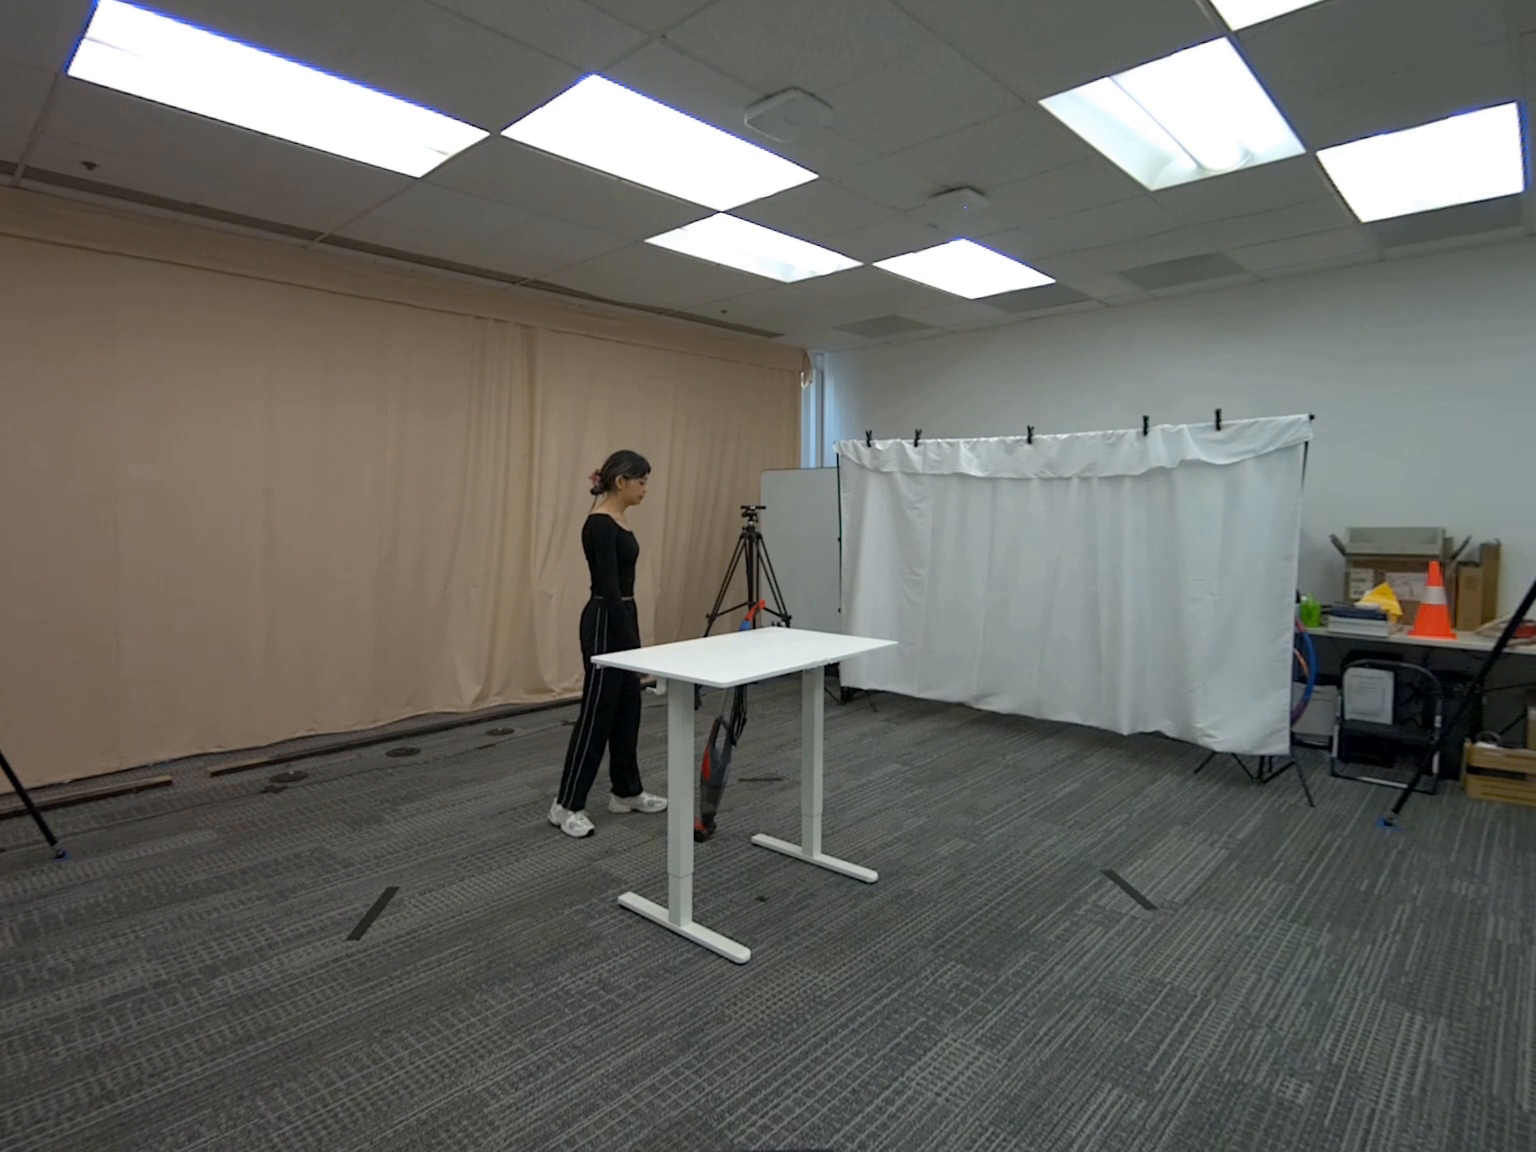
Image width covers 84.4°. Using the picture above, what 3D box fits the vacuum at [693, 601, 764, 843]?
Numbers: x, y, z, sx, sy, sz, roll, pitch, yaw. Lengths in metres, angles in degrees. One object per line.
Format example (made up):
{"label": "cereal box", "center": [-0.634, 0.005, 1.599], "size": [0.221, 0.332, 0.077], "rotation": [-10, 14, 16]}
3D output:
{"label": "vacuum", "center": [-0.164, 0.608, 3.486], "size": [0.148, 1.046, 0.246], "rotation": [21, 11, 22]}
